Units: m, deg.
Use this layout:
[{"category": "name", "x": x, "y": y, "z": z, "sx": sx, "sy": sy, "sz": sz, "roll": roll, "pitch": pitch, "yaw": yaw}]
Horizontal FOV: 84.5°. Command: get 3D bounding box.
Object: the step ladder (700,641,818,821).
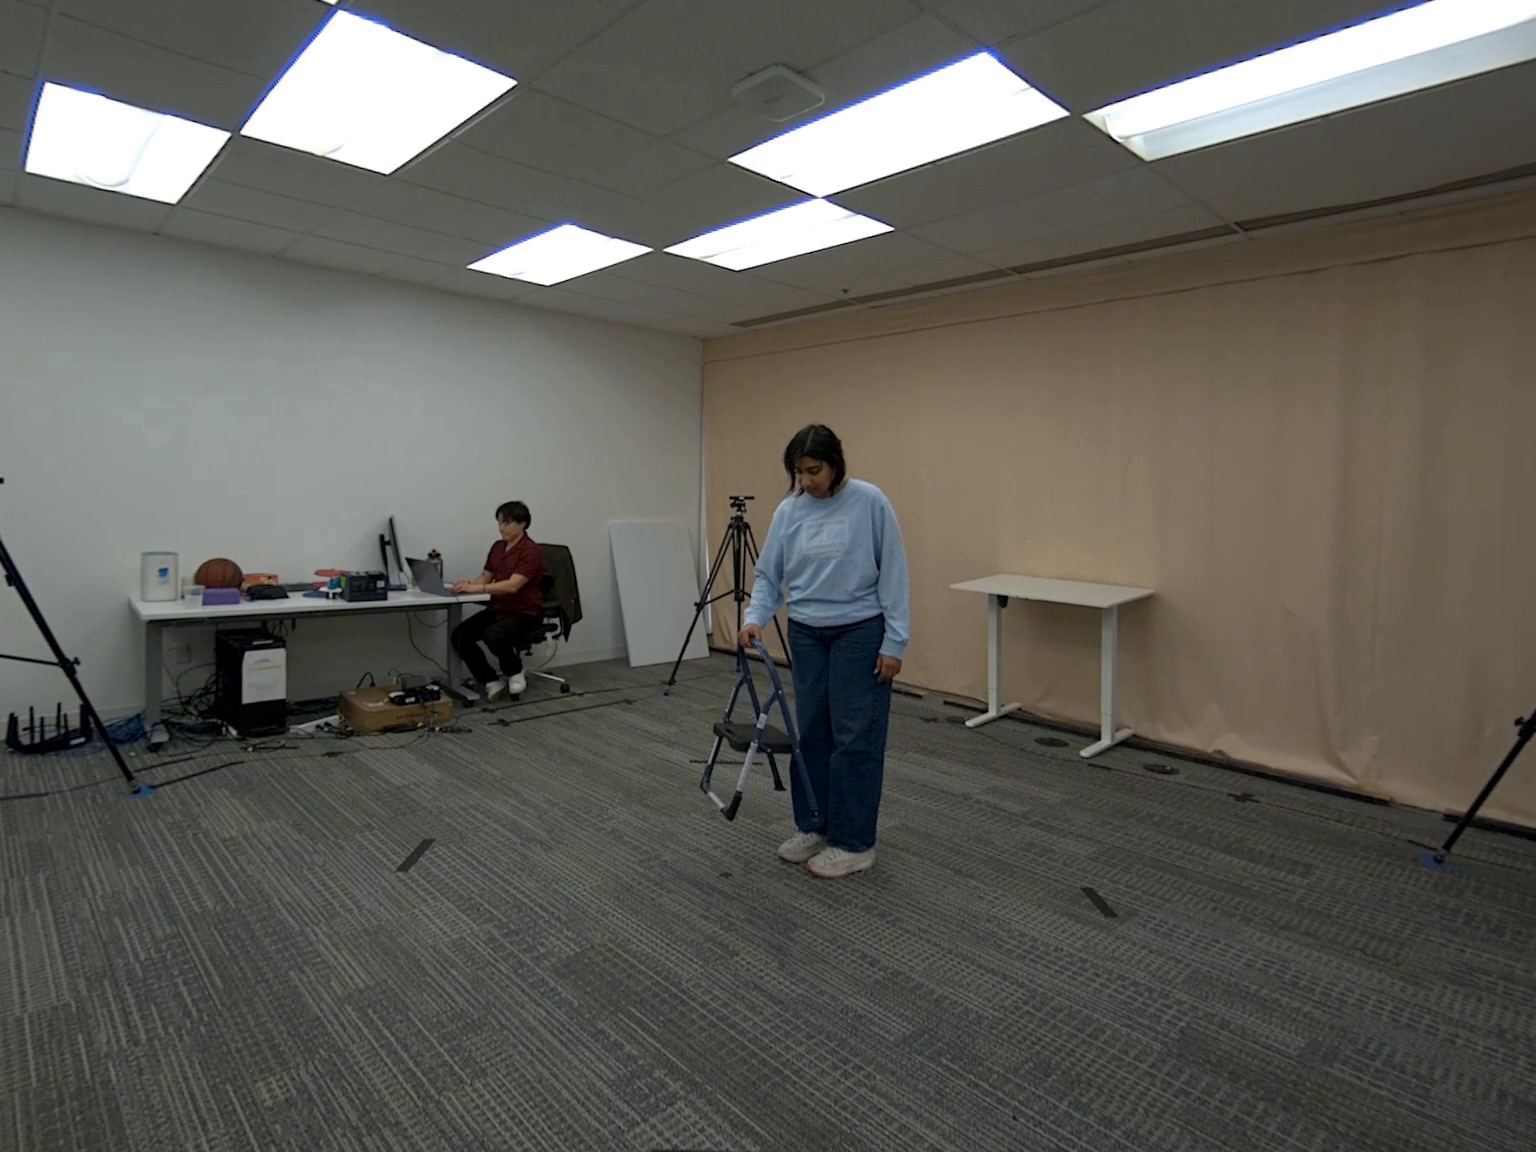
[{"category": "step ladder", "x": -0.022, "y": 0.539, "z": 3.091, "sx": 0.344, "sy": 0.607, "sz": 0.436, "roll": 5, "pitch": -3, "yaw": -18}]
